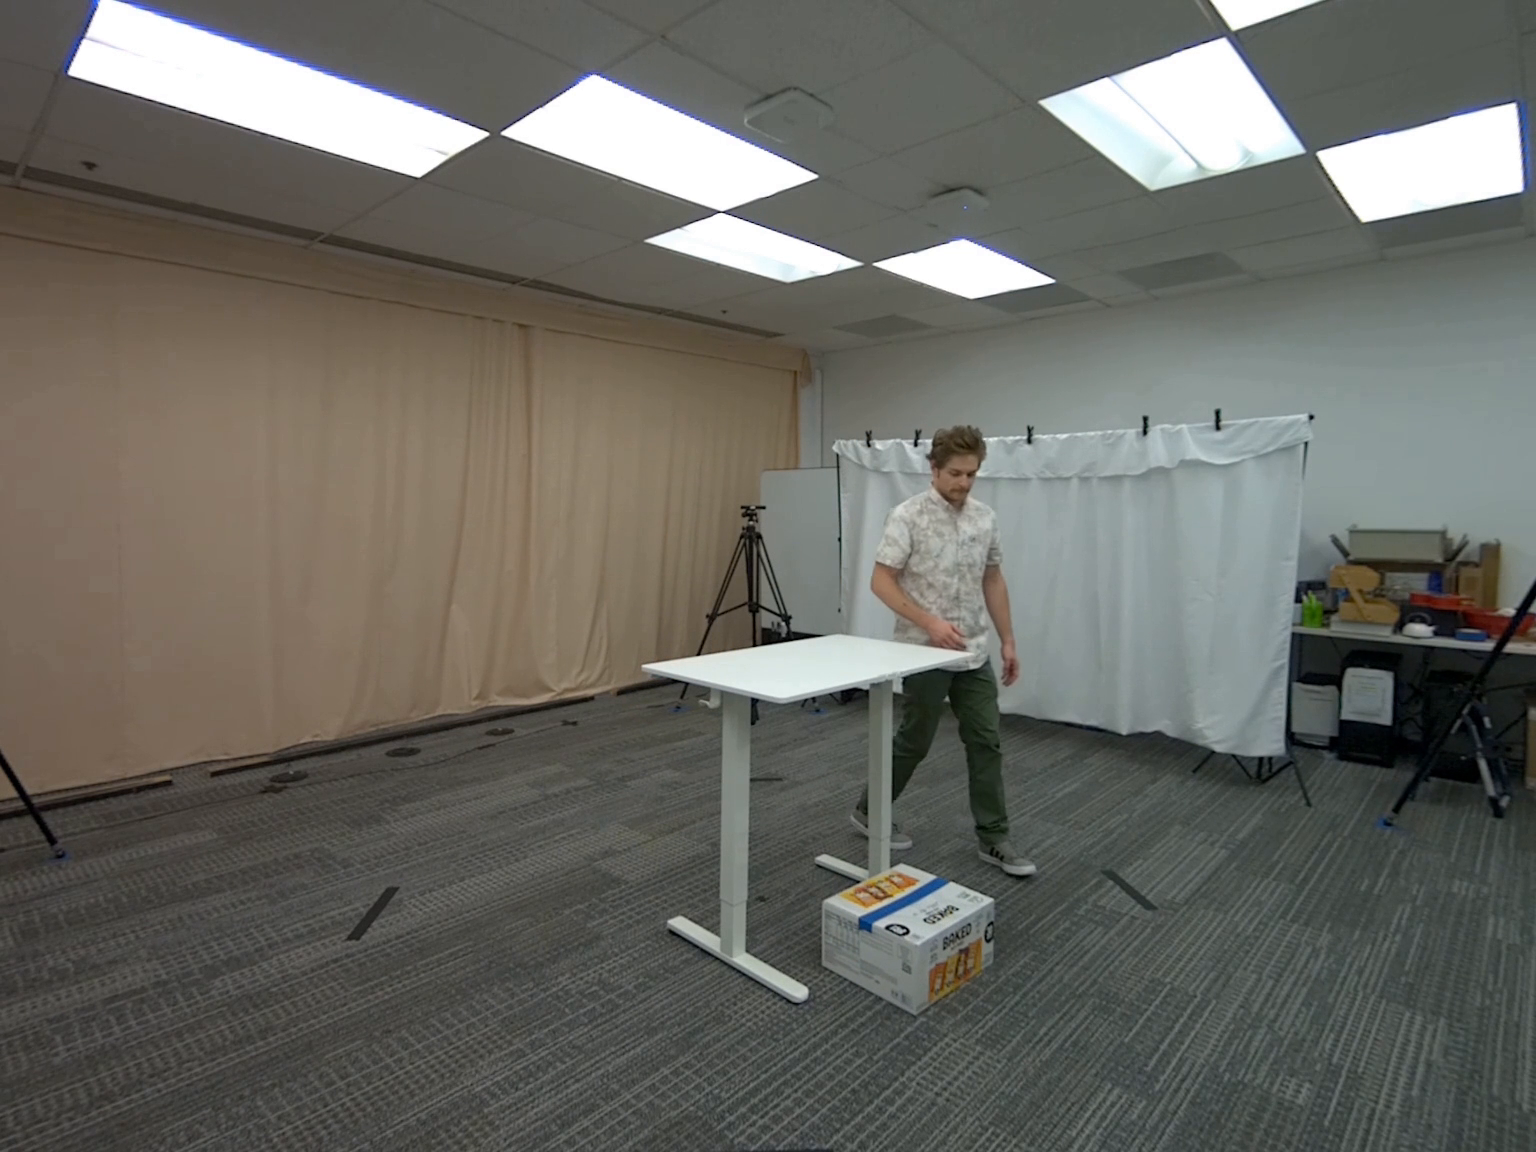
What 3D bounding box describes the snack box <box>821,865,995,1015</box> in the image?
[{"bbox_3d":[0.429,1.080,2.538,0.393,0.205,0.352,-4,6,-43],"label":"snack box"}]
